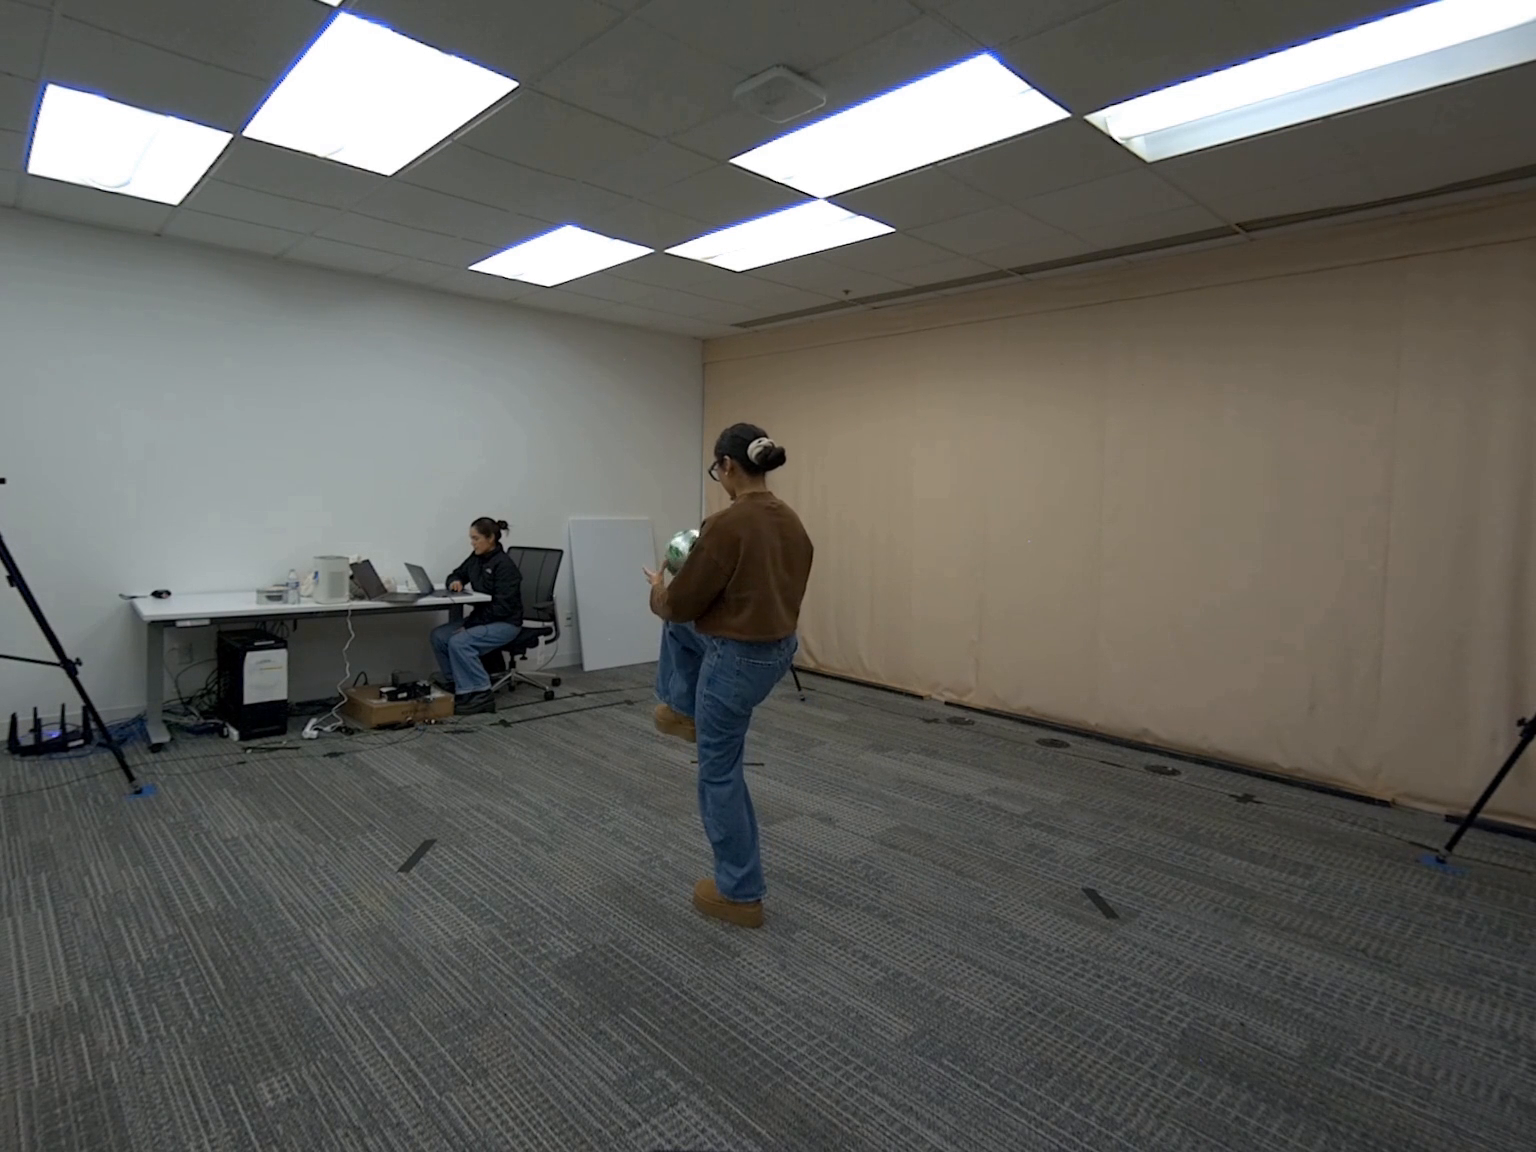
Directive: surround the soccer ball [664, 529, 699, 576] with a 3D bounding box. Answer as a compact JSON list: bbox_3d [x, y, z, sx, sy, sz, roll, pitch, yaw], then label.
[{"bbox_3d":[-0.291,-0.074,2.999,0.187,0.187,0.188,1,4,-1],"label":"soccer ball"}]
